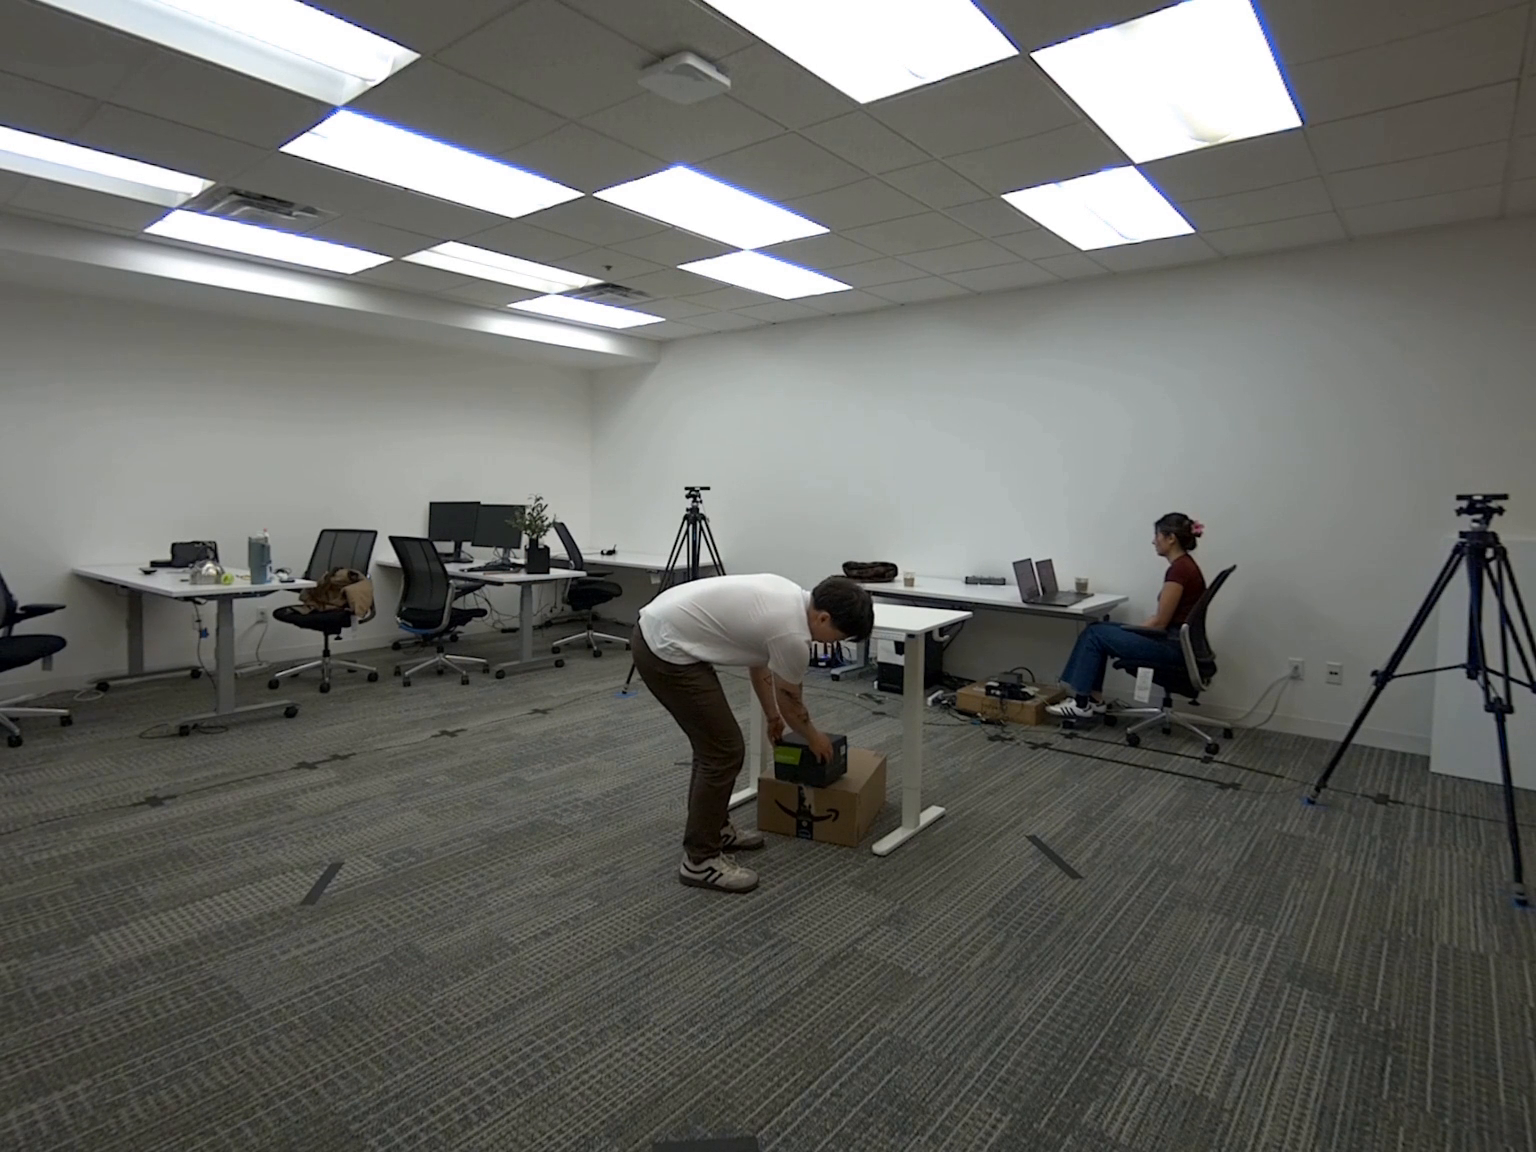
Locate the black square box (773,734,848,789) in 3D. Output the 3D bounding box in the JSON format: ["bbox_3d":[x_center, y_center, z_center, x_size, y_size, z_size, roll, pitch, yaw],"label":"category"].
[{"bbox_3d":[0.162,0.728,3.473,0.234,0.155,0.211,1,4,32],"label":"black square box"}]
